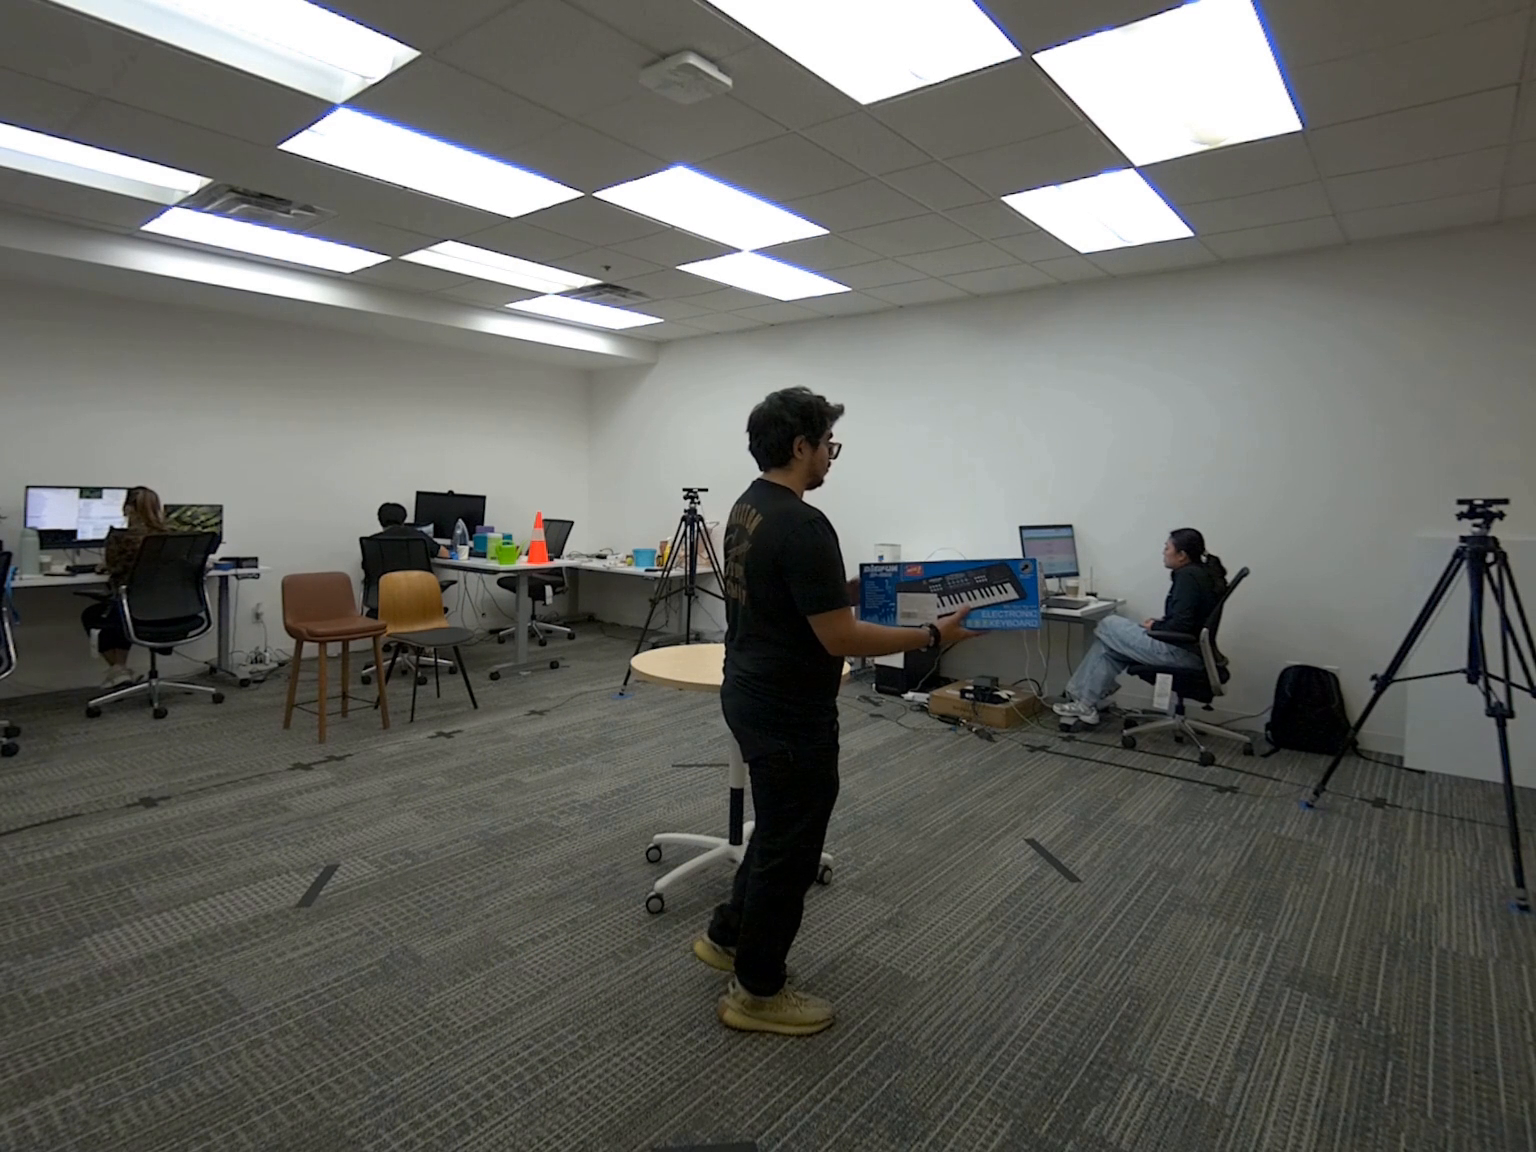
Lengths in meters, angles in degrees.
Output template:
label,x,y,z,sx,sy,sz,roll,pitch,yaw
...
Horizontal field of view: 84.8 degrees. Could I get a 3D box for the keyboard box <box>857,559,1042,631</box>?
label,x,y,z,sx,sy,sz,roll,pitch,yaw
keyboard box,0.447,0.050,2.144,0.446,0.177,0.057,-2,-5,21
